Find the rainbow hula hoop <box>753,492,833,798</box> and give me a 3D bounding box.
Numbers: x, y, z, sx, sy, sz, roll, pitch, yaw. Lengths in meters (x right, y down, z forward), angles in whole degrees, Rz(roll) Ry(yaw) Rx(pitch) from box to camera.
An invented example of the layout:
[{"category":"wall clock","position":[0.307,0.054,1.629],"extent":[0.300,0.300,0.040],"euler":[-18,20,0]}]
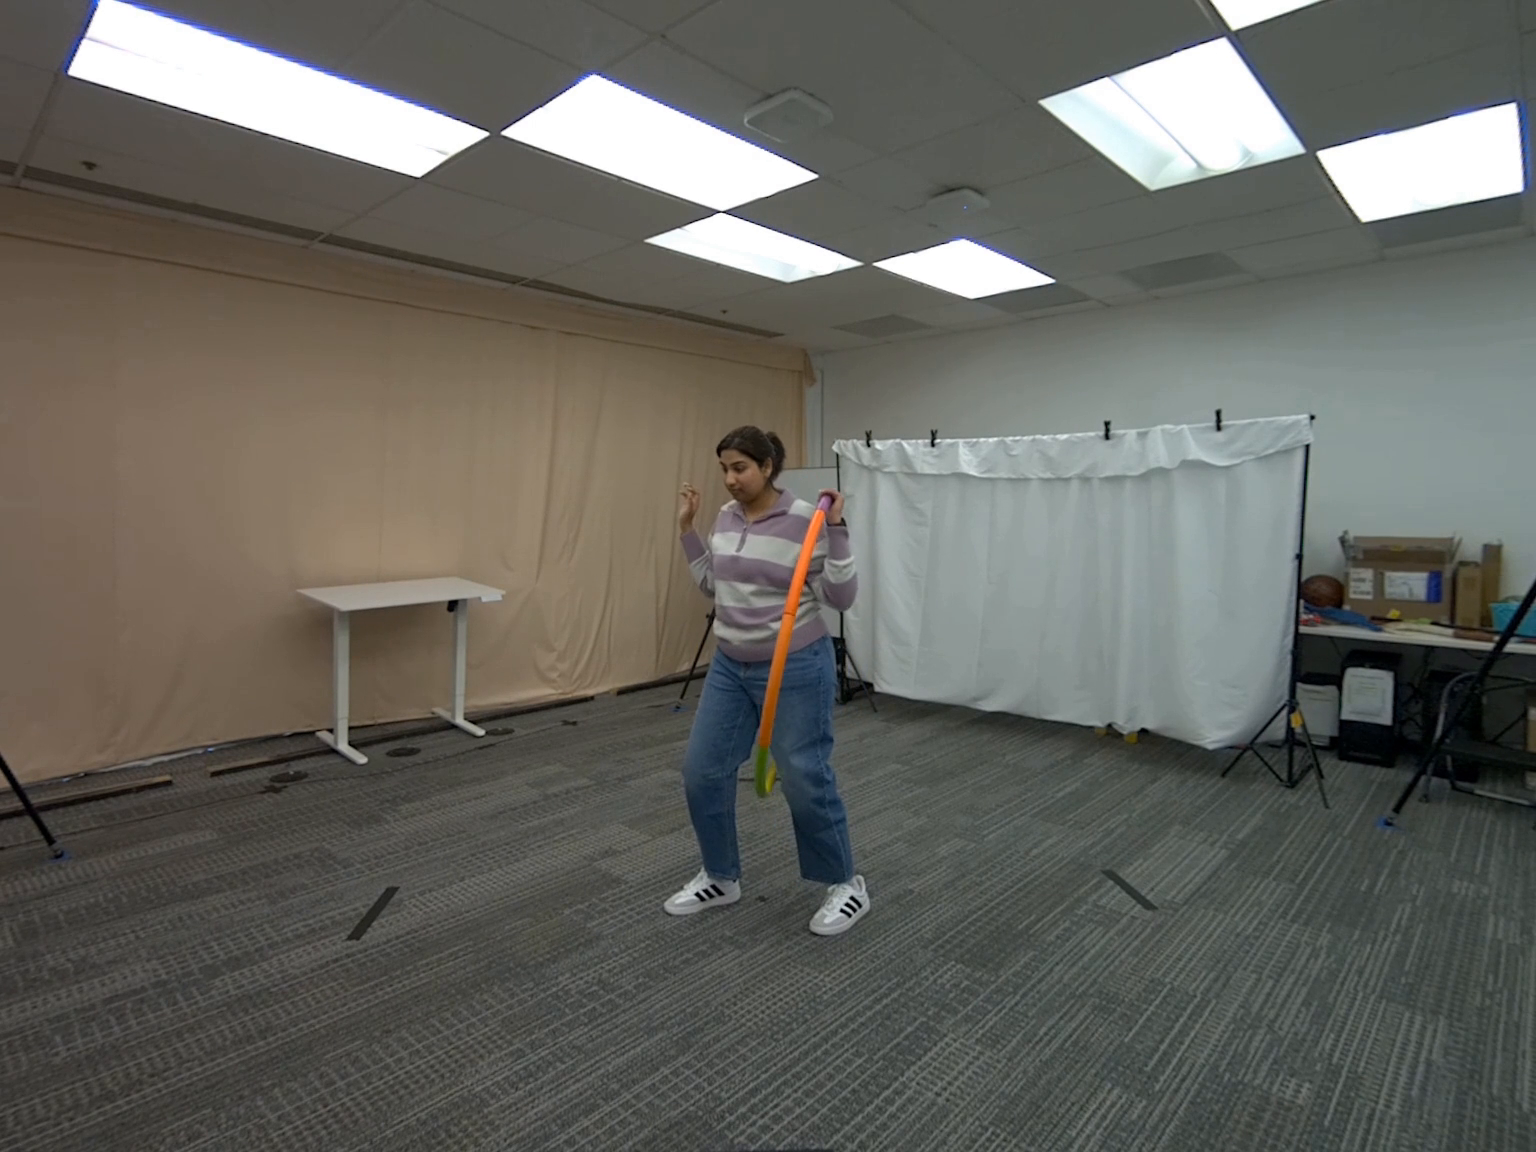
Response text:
[{"category":"rainbow hula hoop","position":[0.097,0.214,2.717],"extent":[0.052,0.983,0.976],"euler":[13,6,7]}]
